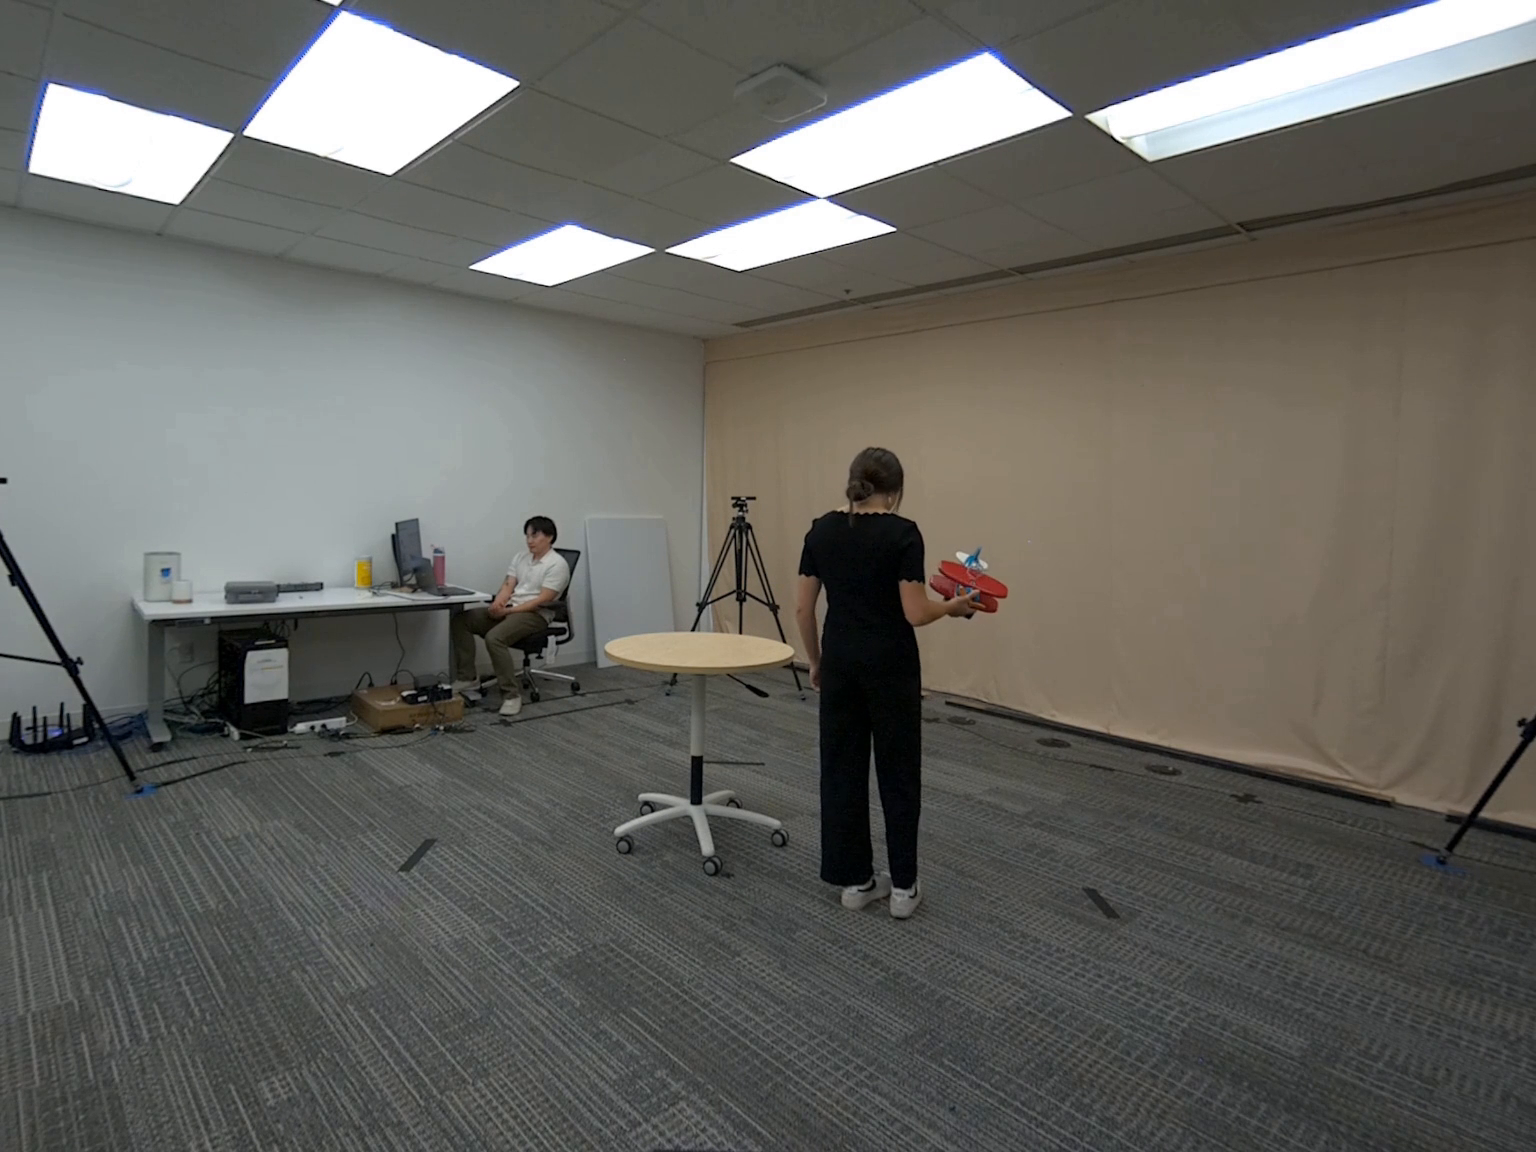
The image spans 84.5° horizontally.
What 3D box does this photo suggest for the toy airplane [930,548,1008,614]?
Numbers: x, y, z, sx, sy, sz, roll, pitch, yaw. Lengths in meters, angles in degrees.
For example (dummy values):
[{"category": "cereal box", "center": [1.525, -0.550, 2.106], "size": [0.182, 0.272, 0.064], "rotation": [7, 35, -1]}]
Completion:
[{"category": "toy airplane", "center": [0.683, 0.012, 3.010], "size": [0.248, 0.265, 0.154], "rotation": [-2, -31, -14]}]
